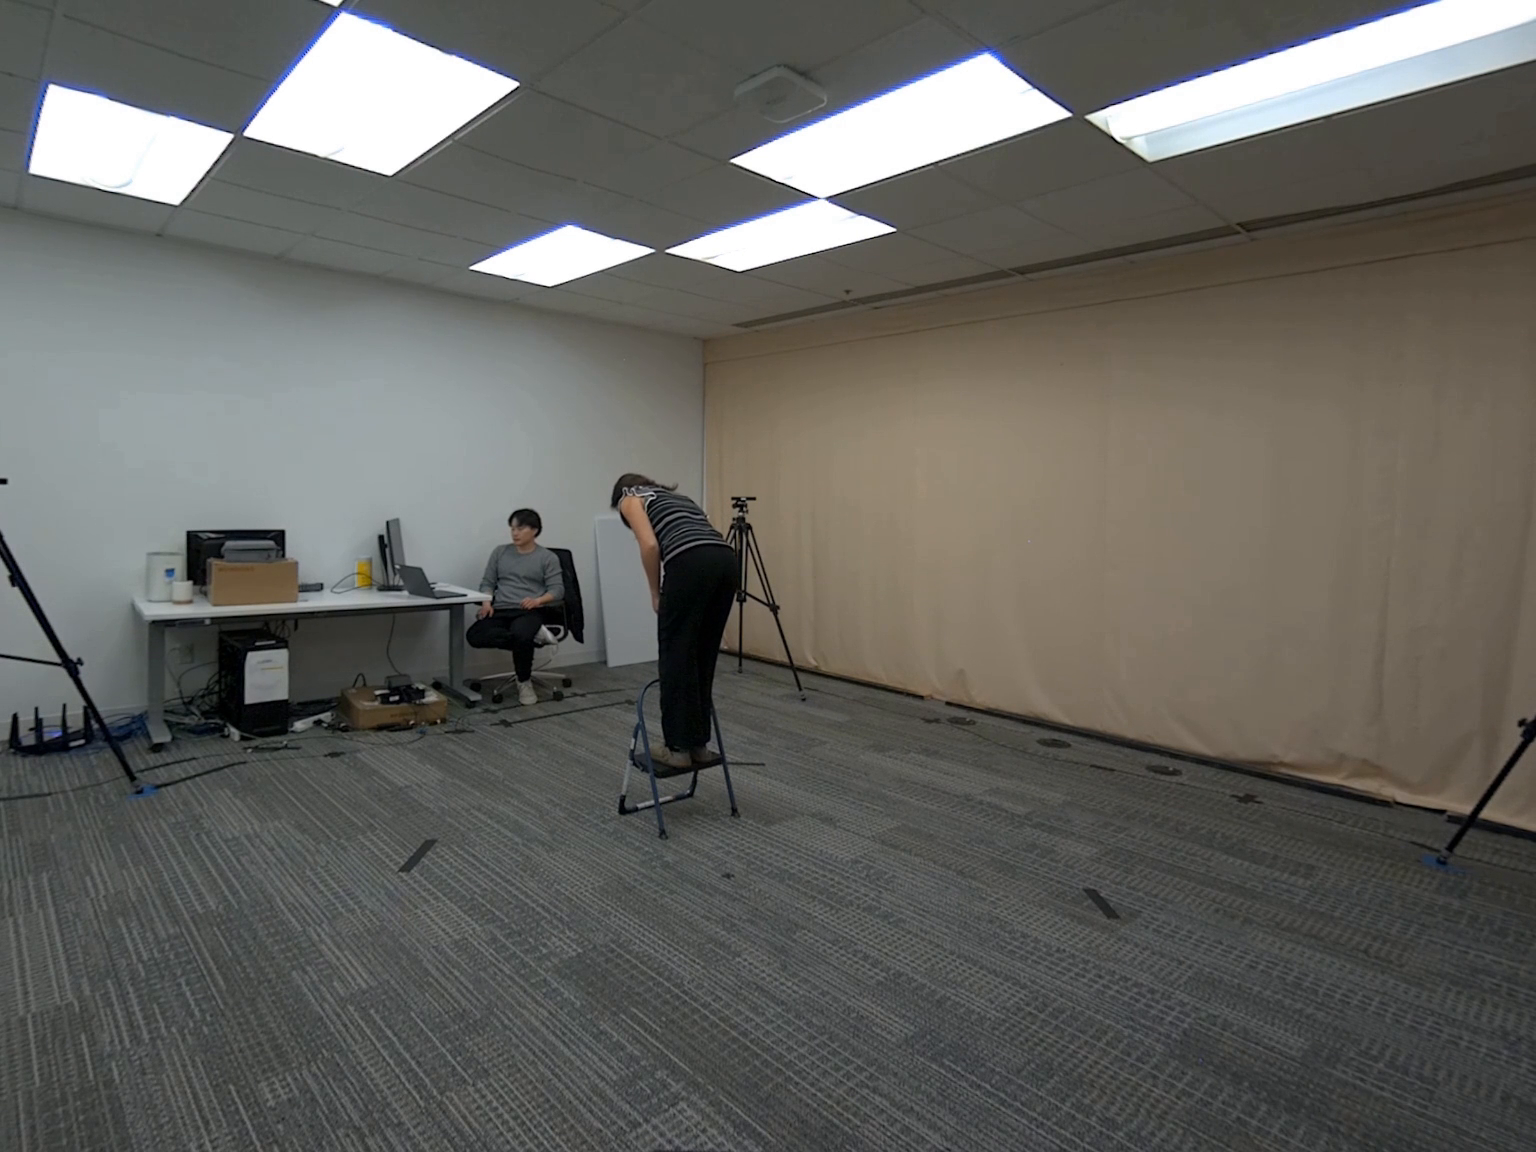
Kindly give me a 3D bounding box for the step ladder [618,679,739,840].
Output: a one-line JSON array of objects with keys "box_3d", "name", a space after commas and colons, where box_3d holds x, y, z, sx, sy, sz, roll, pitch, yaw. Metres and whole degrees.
[{"box_3d": [-0.392, 0.748, 3.680, 0.421, 0.605, 0.358, -1, 4, -43], "name": "step ladder"}]
